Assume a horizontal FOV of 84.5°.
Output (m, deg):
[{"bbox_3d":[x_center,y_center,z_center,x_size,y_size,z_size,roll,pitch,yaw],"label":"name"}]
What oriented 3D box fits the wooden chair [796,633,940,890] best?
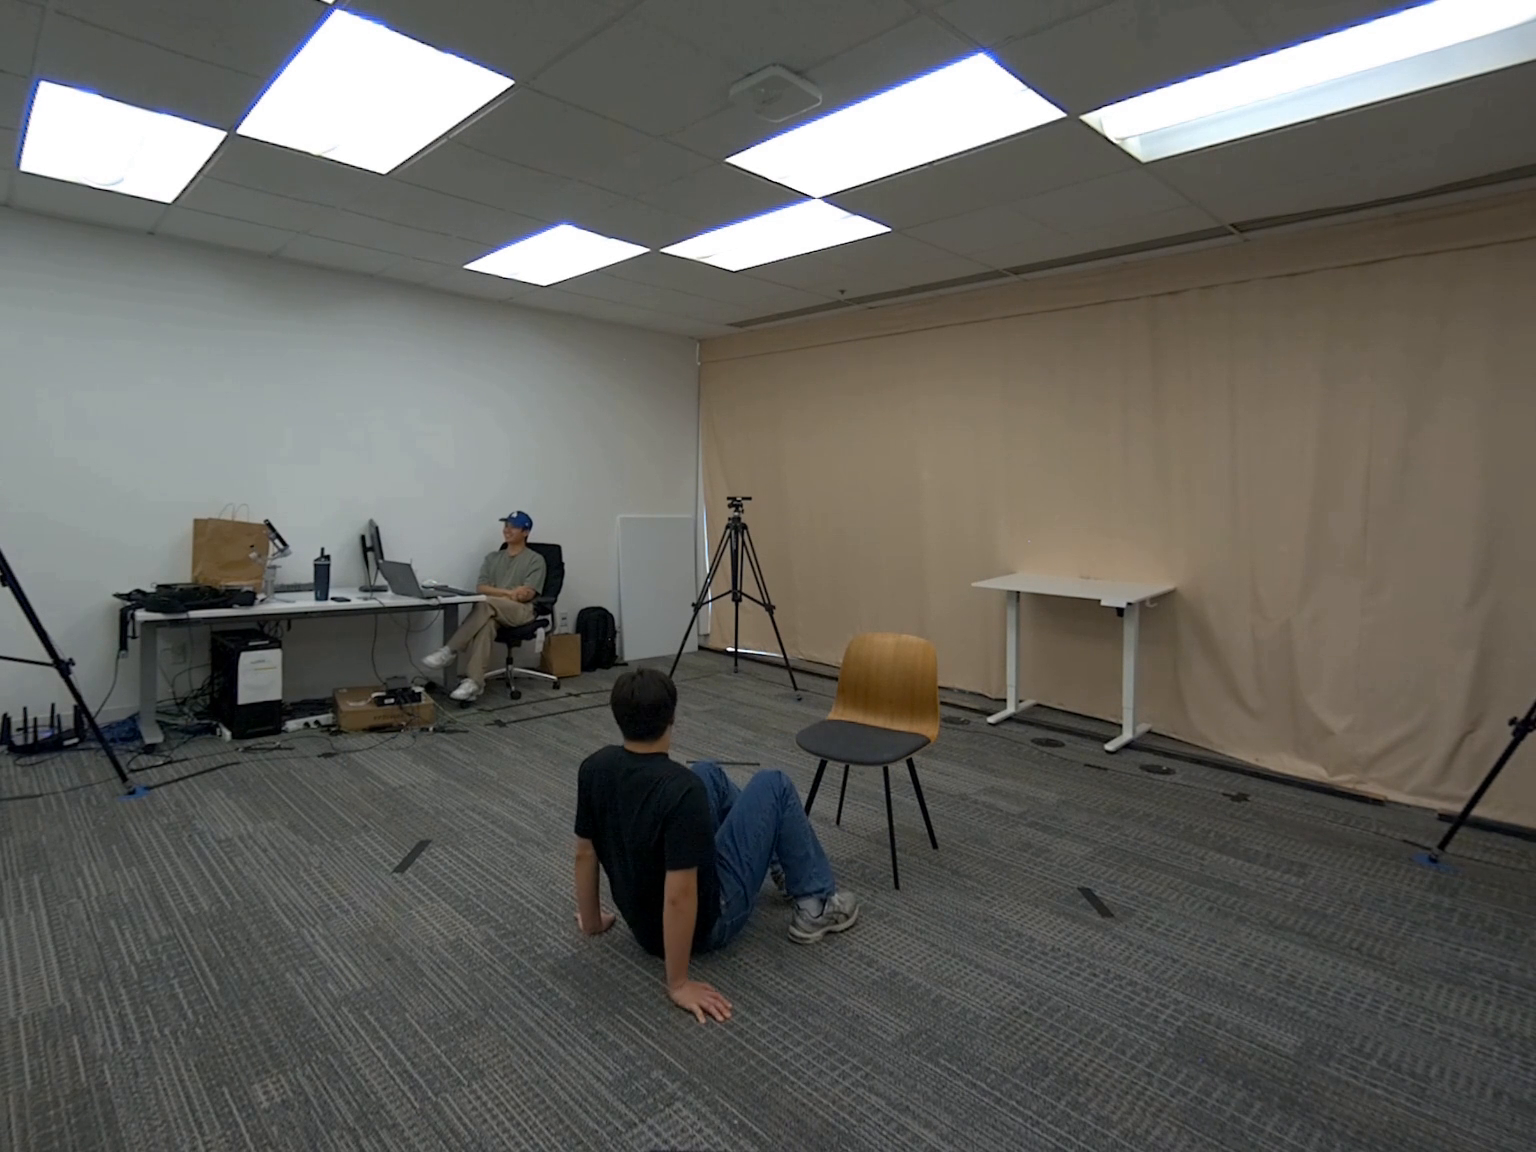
[{"bbox_3d":[0.384,0.677,3.293,0.489,0.878,0.511,4,0,31],"label":"wooden chair"}]
